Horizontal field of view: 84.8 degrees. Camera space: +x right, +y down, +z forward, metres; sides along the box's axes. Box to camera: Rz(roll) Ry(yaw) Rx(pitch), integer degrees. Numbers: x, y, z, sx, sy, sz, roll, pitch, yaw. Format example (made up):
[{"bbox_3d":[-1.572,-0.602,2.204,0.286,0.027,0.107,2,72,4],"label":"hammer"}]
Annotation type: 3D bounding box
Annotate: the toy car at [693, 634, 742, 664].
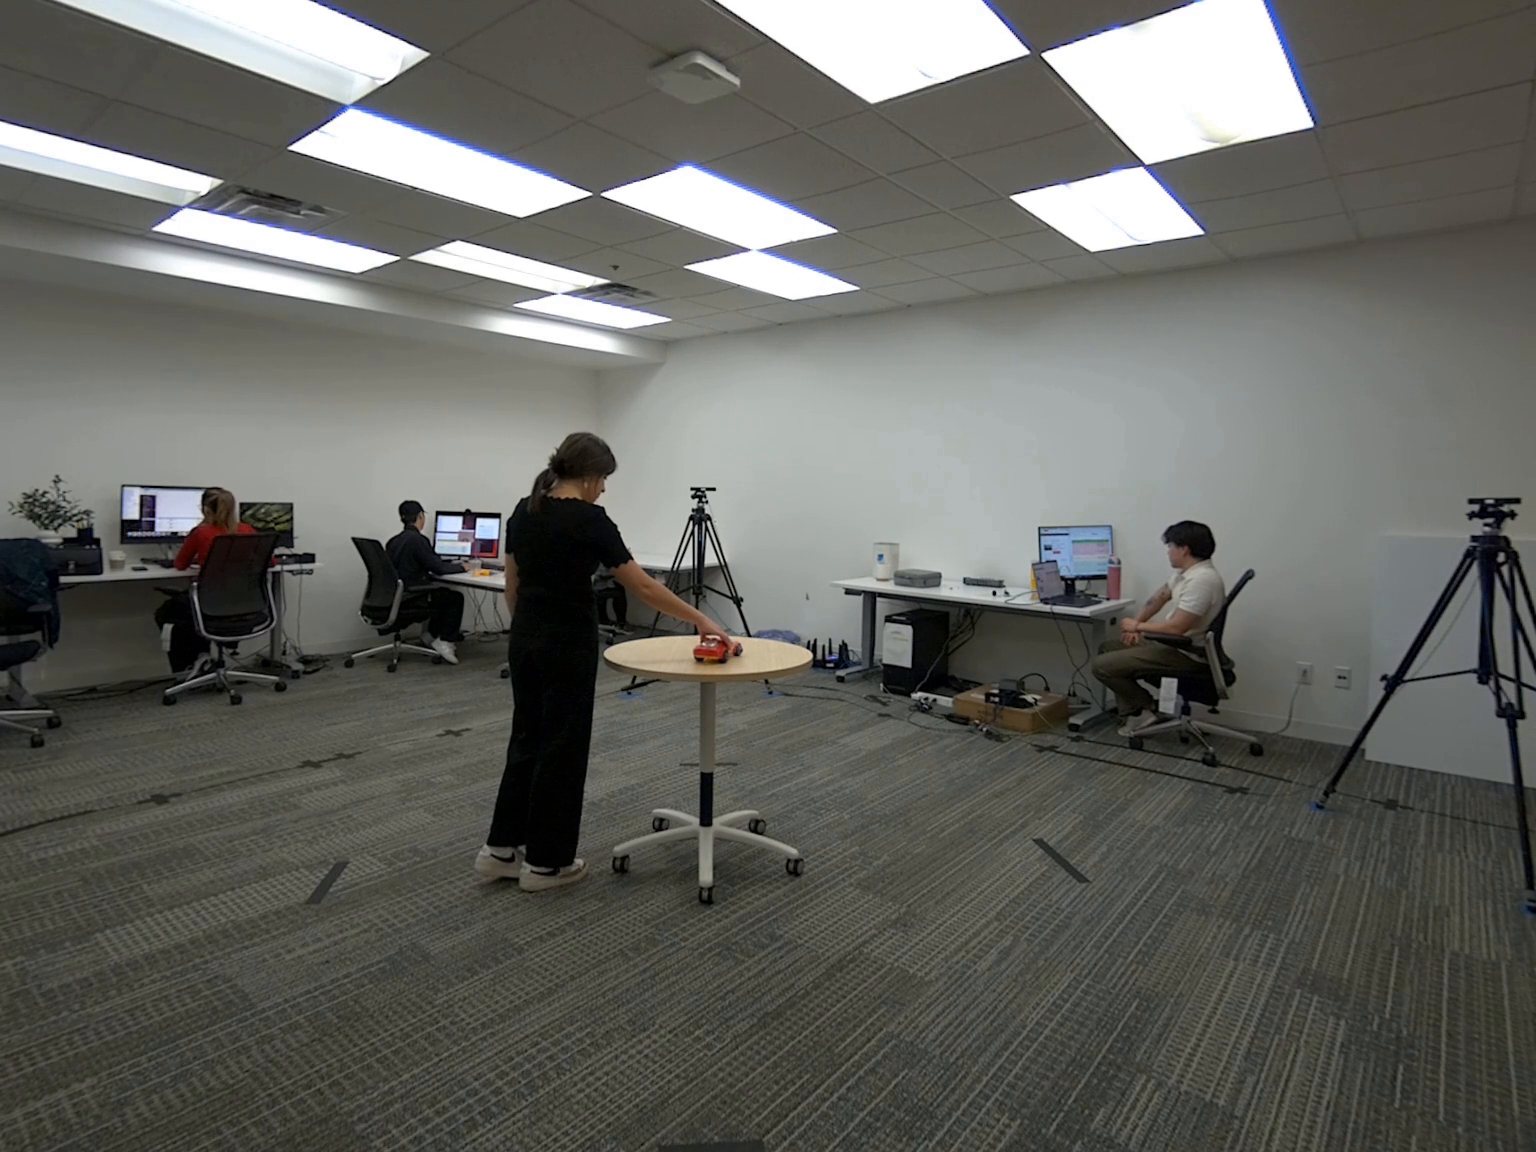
[{"bbox_3d":[-0.198,0.263,2.997,0.133,0.084,0.248,3,-6,18],"label":"toy car"}]
